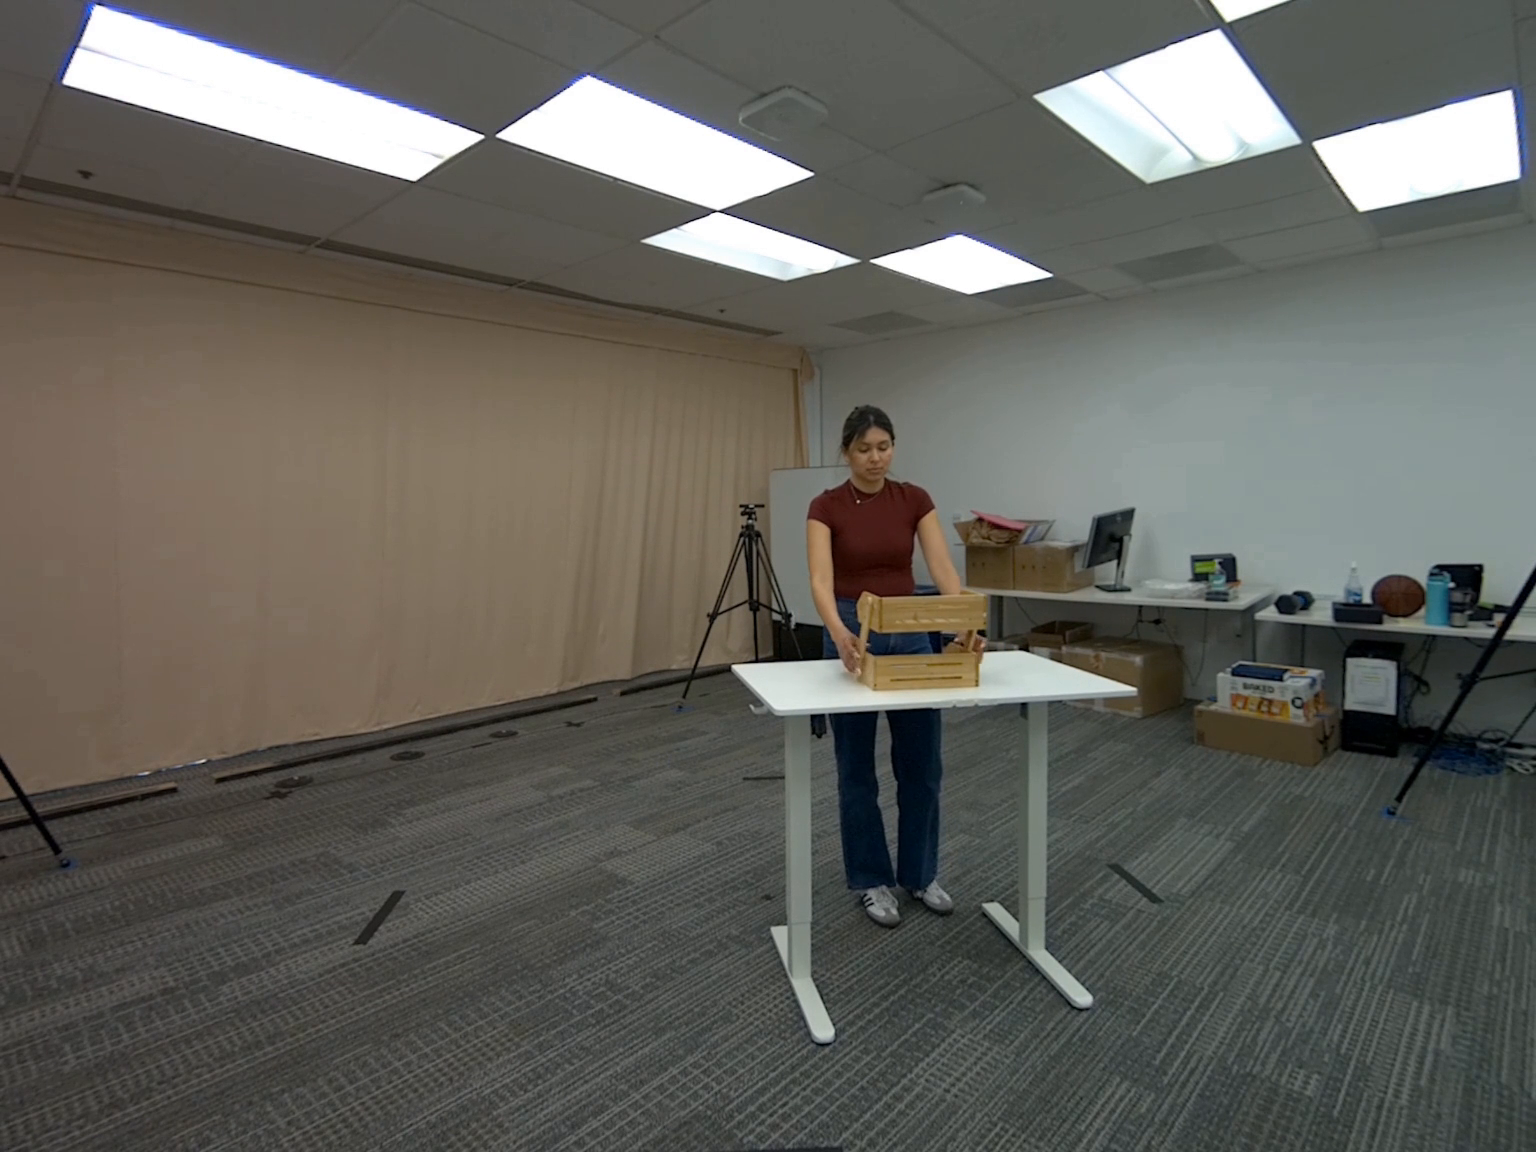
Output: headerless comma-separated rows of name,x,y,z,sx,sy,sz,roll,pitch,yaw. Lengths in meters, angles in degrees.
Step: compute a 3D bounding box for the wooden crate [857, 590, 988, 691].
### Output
wooden crate,0.413,0.170,2.393,0.322,0.272,0.305,-1,5,-9
